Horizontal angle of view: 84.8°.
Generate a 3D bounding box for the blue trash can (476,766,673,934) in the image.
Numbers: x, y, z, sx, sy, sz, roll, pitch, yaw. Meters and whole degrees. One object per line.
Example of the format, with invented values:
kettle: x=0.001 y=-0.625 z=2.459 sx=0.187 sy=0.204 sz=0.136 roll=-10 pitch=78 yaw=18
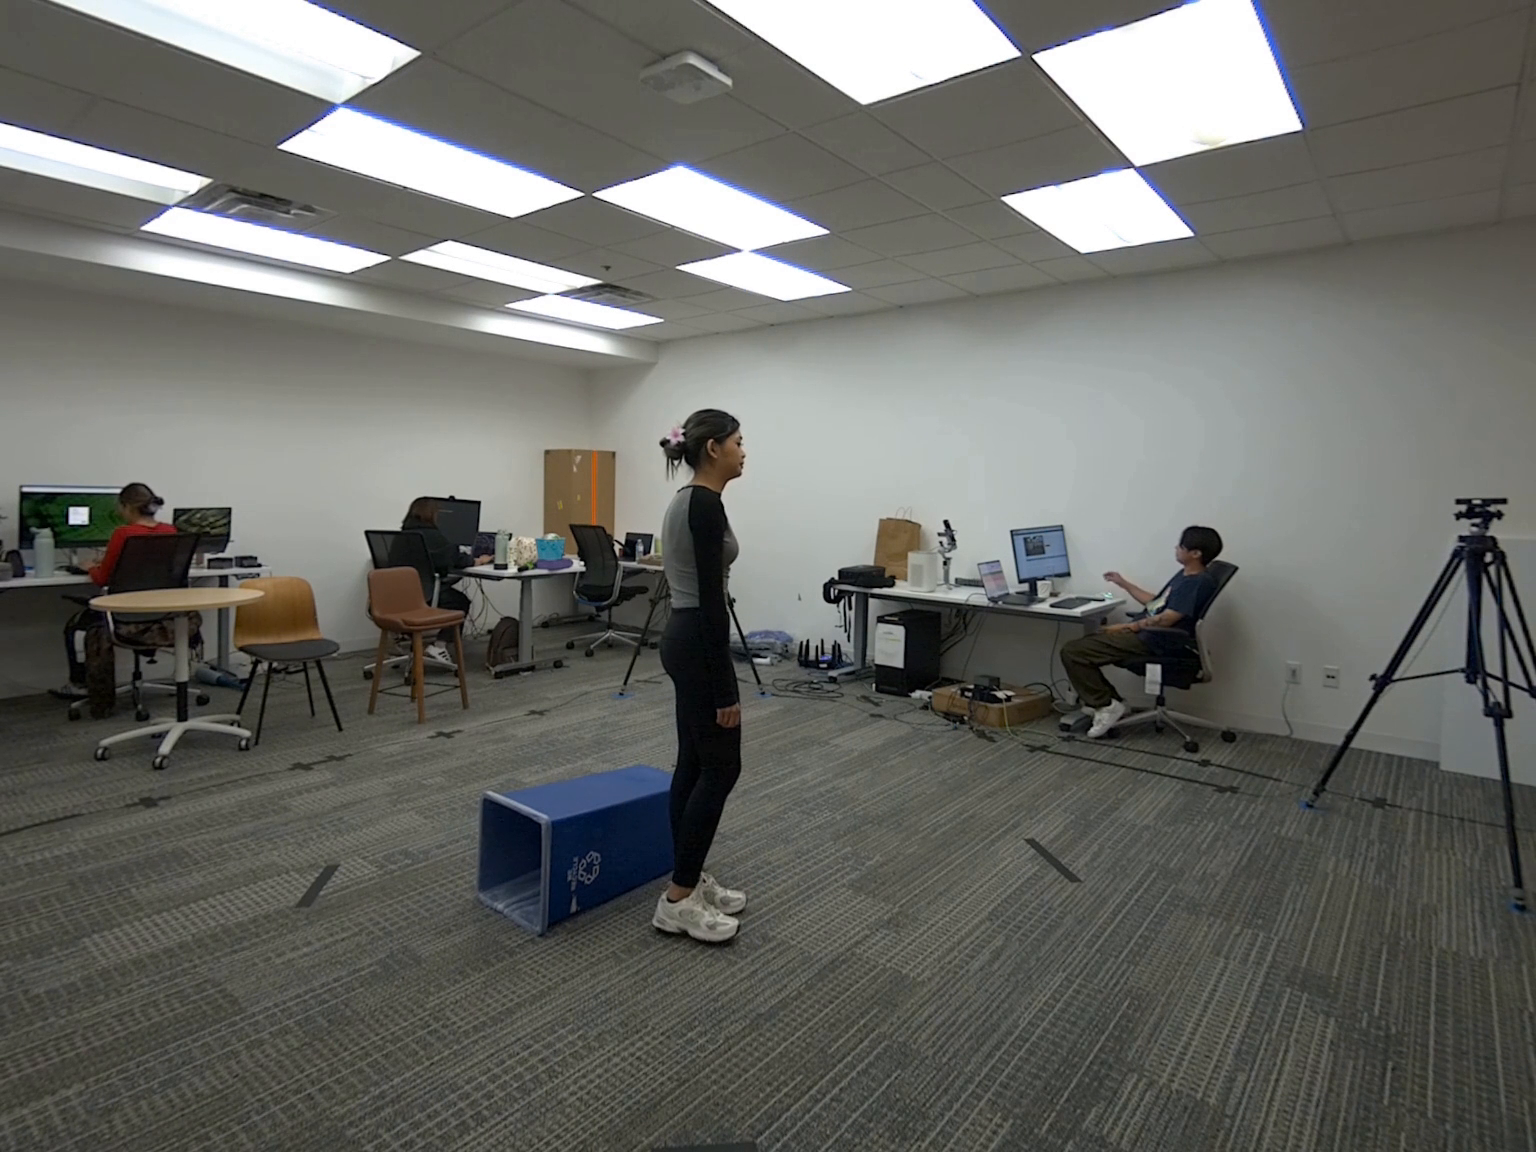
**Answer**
blue trash can: x=-0.628 y=0.901 z=3.002 sx=0.390 sy=0.373 sz=0.692 roll=4 pitch=4 yaw=39
